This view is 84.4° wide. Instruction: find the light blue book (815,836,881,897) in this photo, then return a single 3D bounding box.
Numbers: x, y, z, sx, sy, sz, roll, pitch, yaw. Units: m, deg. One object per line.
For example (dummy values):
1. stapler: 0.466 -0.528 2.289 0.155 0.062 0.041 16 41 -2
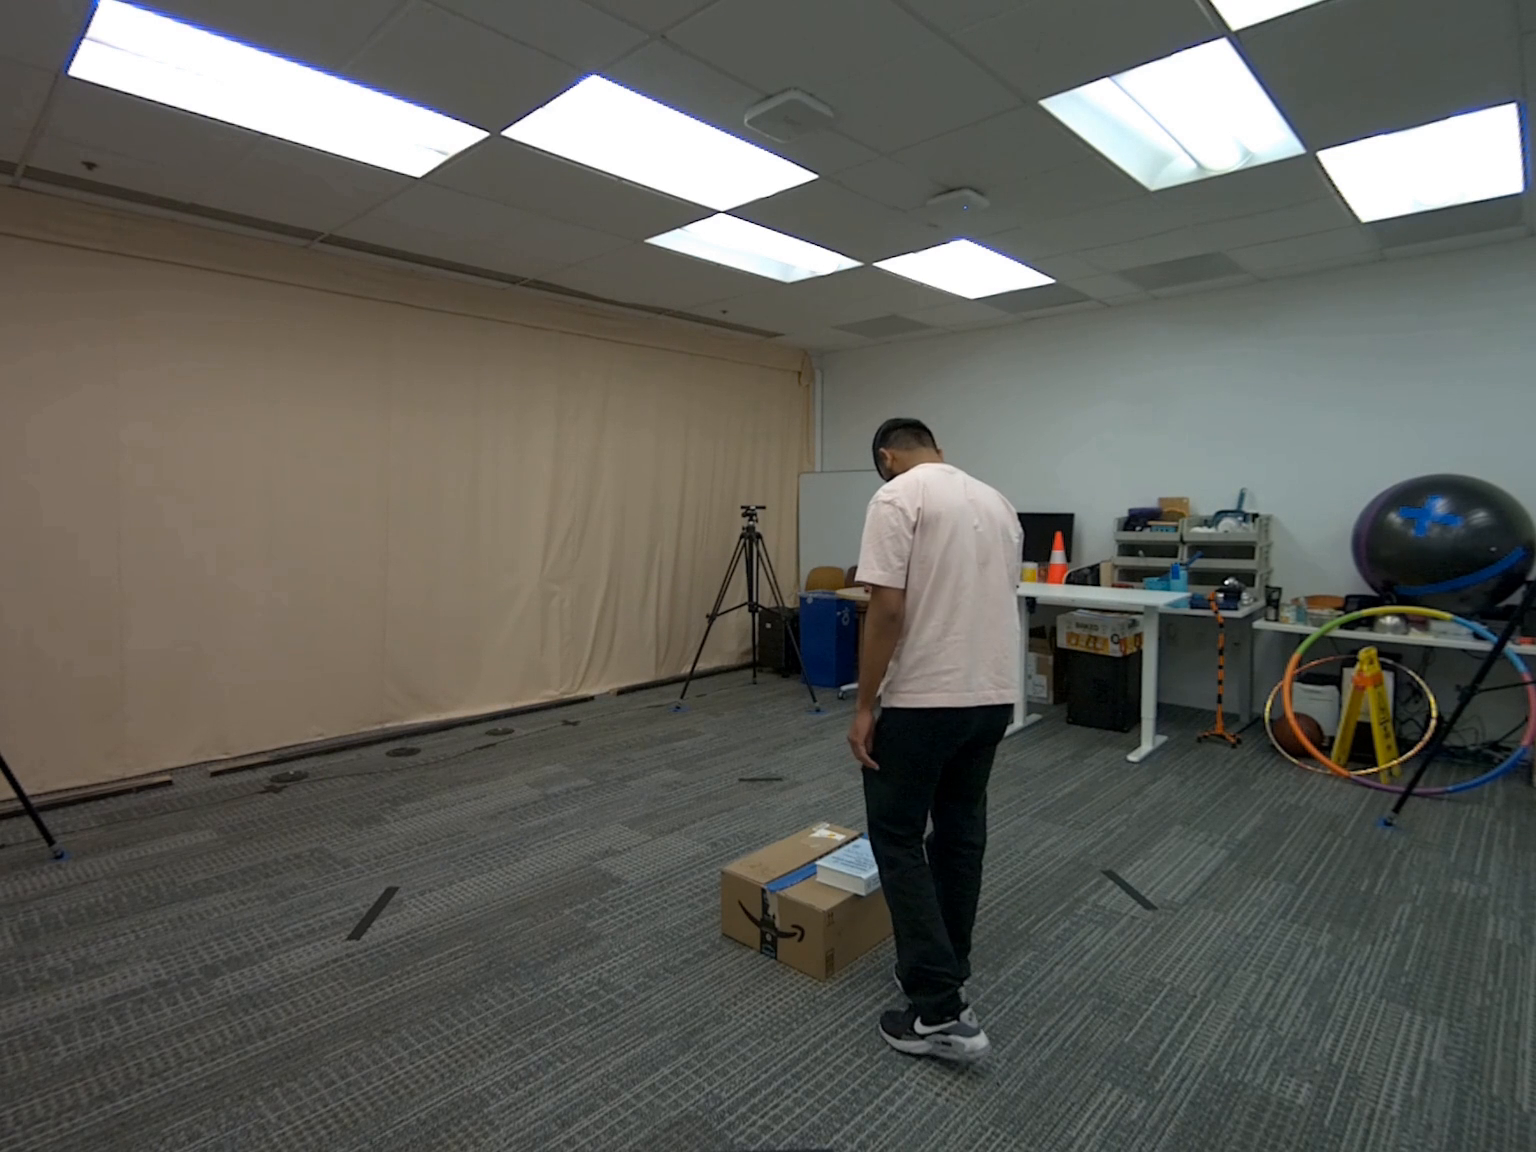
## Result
1. light blue book: 0.302 0.927 2.686 0.197 0.059 0.253 1 5 41
